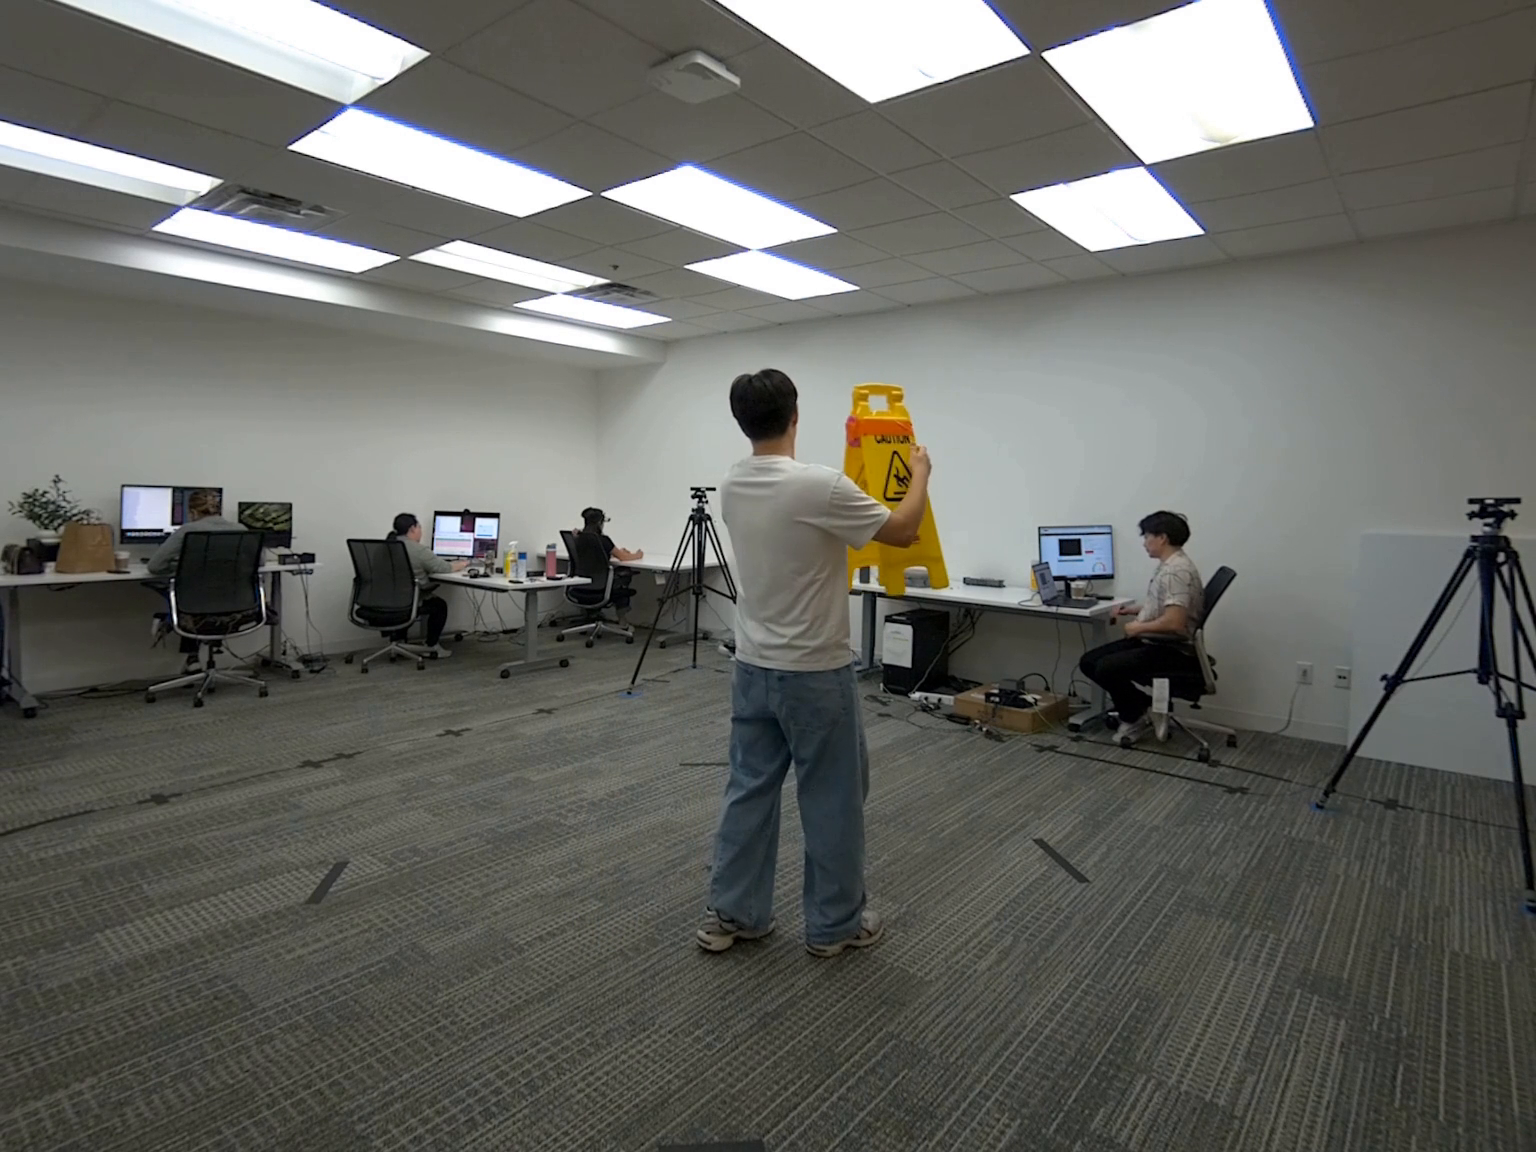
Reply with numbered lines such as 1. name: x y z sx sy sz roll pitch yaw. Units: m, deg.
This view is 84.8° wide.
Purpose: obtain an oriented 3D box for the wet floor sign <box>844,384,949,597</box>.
1. wet floor sign: 0.362 -0.283 2.686 0.274 0.645 0.298 -5 2 -36
